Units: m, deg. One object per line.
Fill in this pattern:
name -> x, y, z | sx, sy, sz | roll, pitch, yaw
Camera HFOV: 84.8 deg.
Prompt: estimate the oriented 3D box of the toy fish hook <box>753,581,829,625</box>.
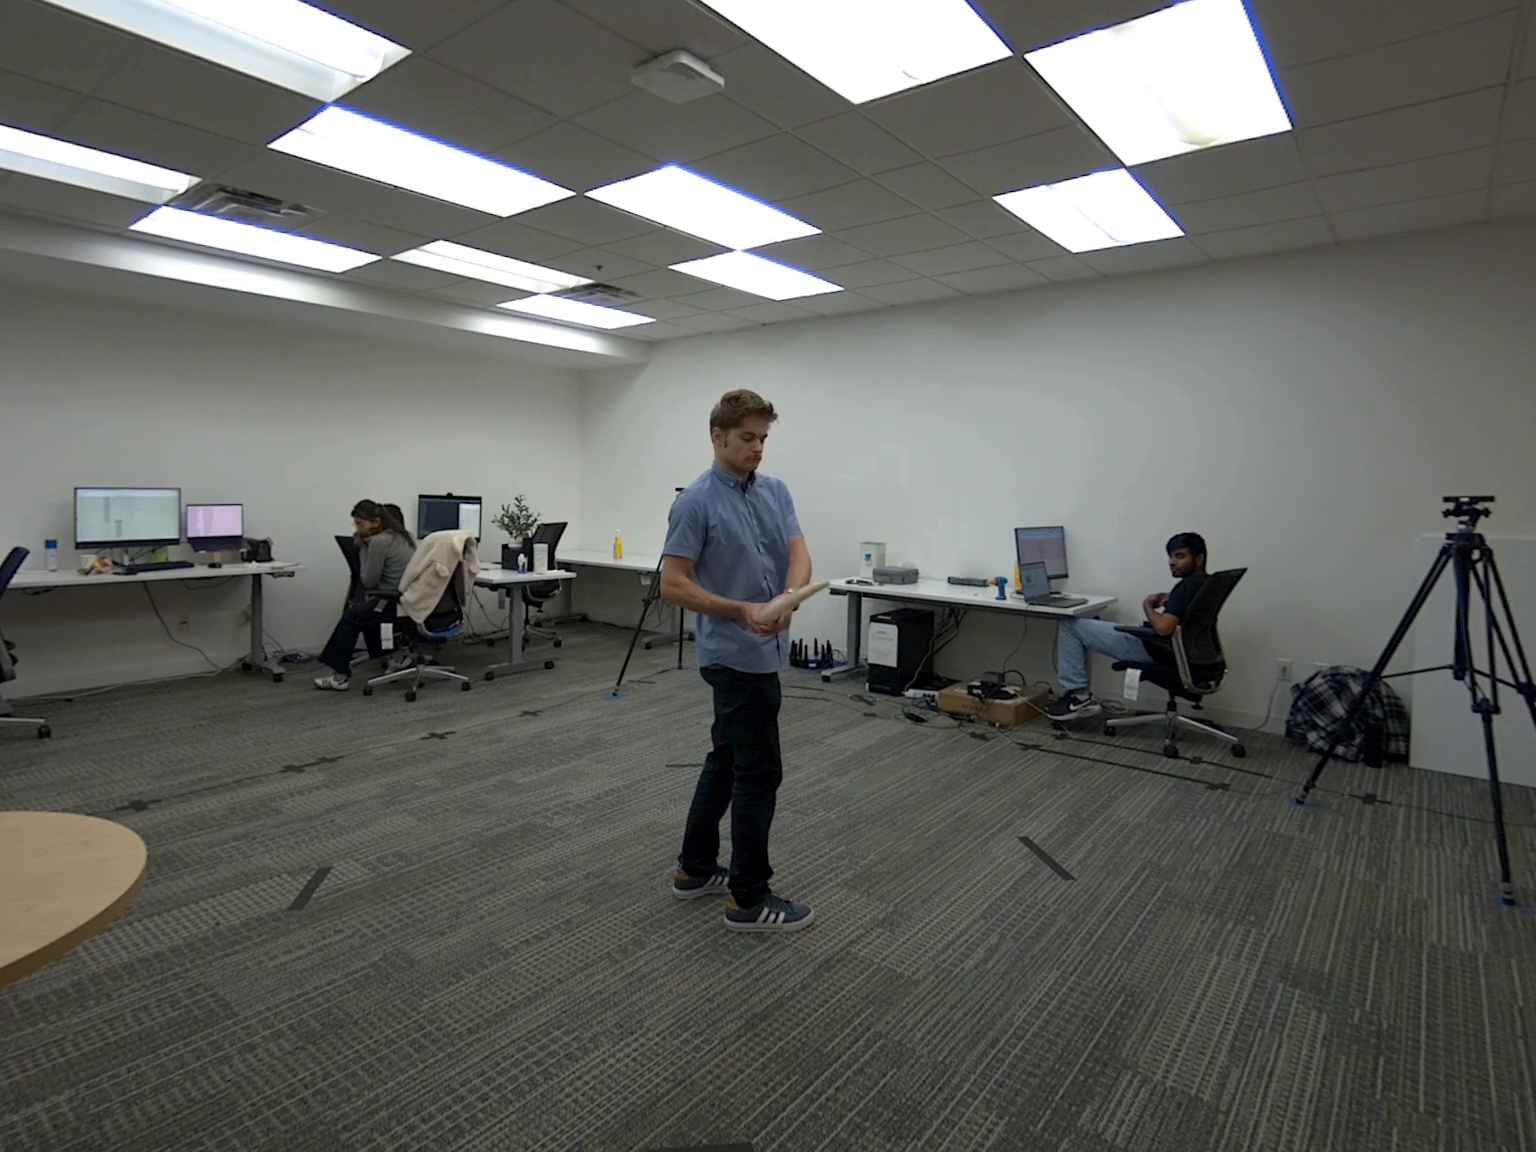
toy fish hook -> 0.083, 0.084, 2.434 | 0.224, 0.049, 0.503 | -25, -6, -6
